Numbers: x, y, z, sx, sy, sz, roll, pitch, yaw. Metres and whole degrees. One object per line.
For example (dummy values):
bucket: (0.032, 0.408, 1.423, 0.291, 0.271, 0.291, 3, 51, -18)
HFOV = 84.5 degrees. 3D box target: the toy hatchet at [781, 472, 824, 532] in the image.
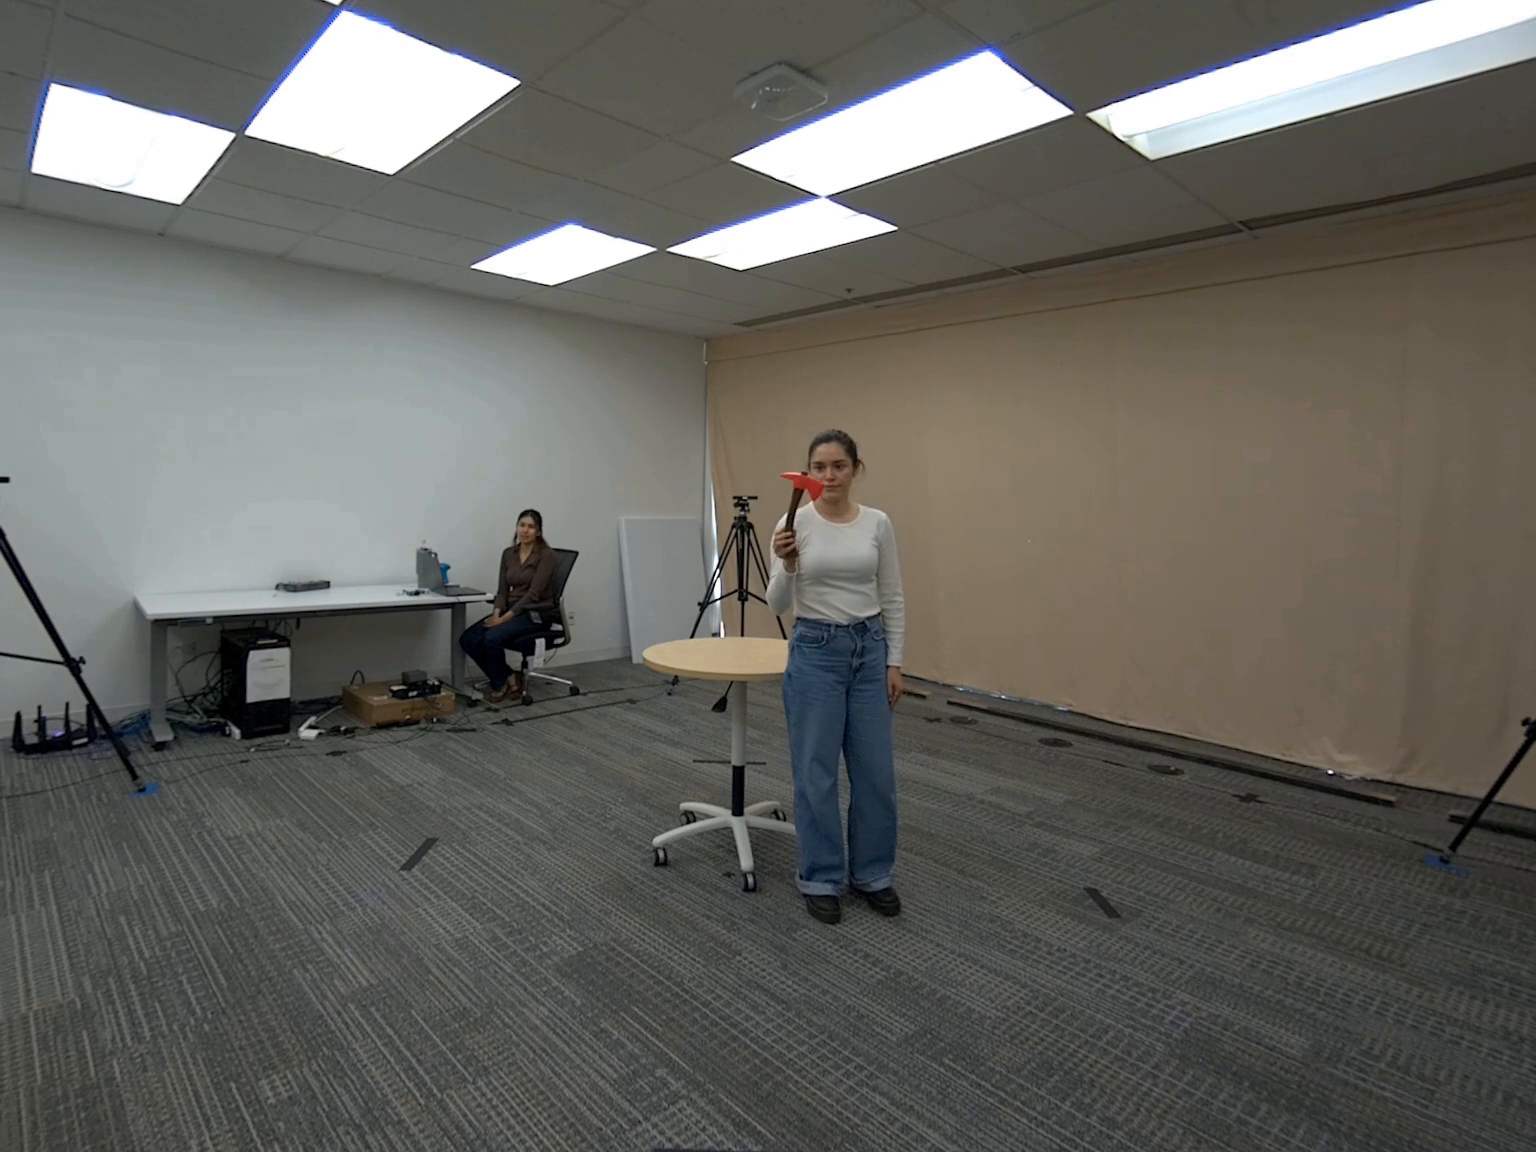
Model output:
toy hatchet: (0.109, -0.184, 2.528, 0.131, 0.268, 0.030, -2, 11, -2)
